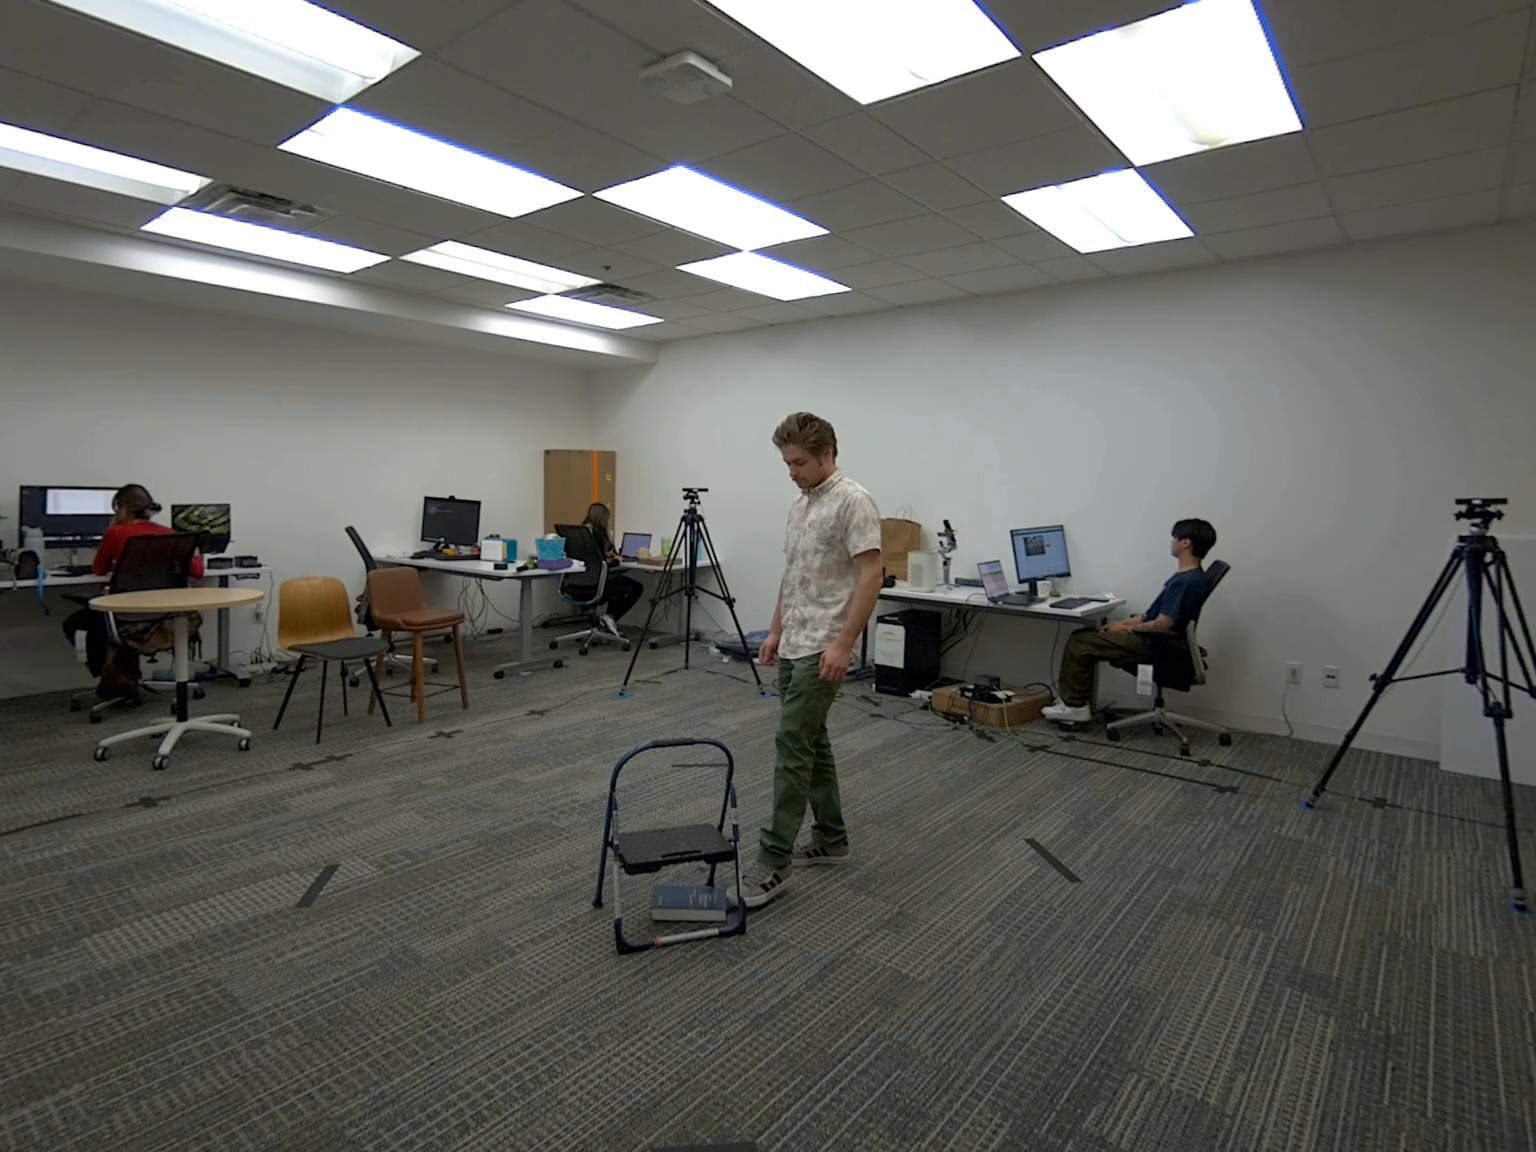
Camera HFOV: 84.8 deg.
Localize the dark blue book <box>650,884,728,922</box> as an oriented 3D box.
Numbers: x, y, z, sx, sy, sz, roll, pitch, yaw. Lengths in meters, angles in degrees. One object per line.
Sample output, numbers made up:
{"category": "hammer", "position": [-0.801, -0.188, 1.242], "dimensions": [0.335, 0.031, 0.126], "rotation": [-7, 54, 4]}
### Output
{"category": "dark blue book", "position": [-0.263, 1.071, 2.803], "dimensions": [0.245, 0.045, 0.164], "rotation": [2, 6, -2]}
